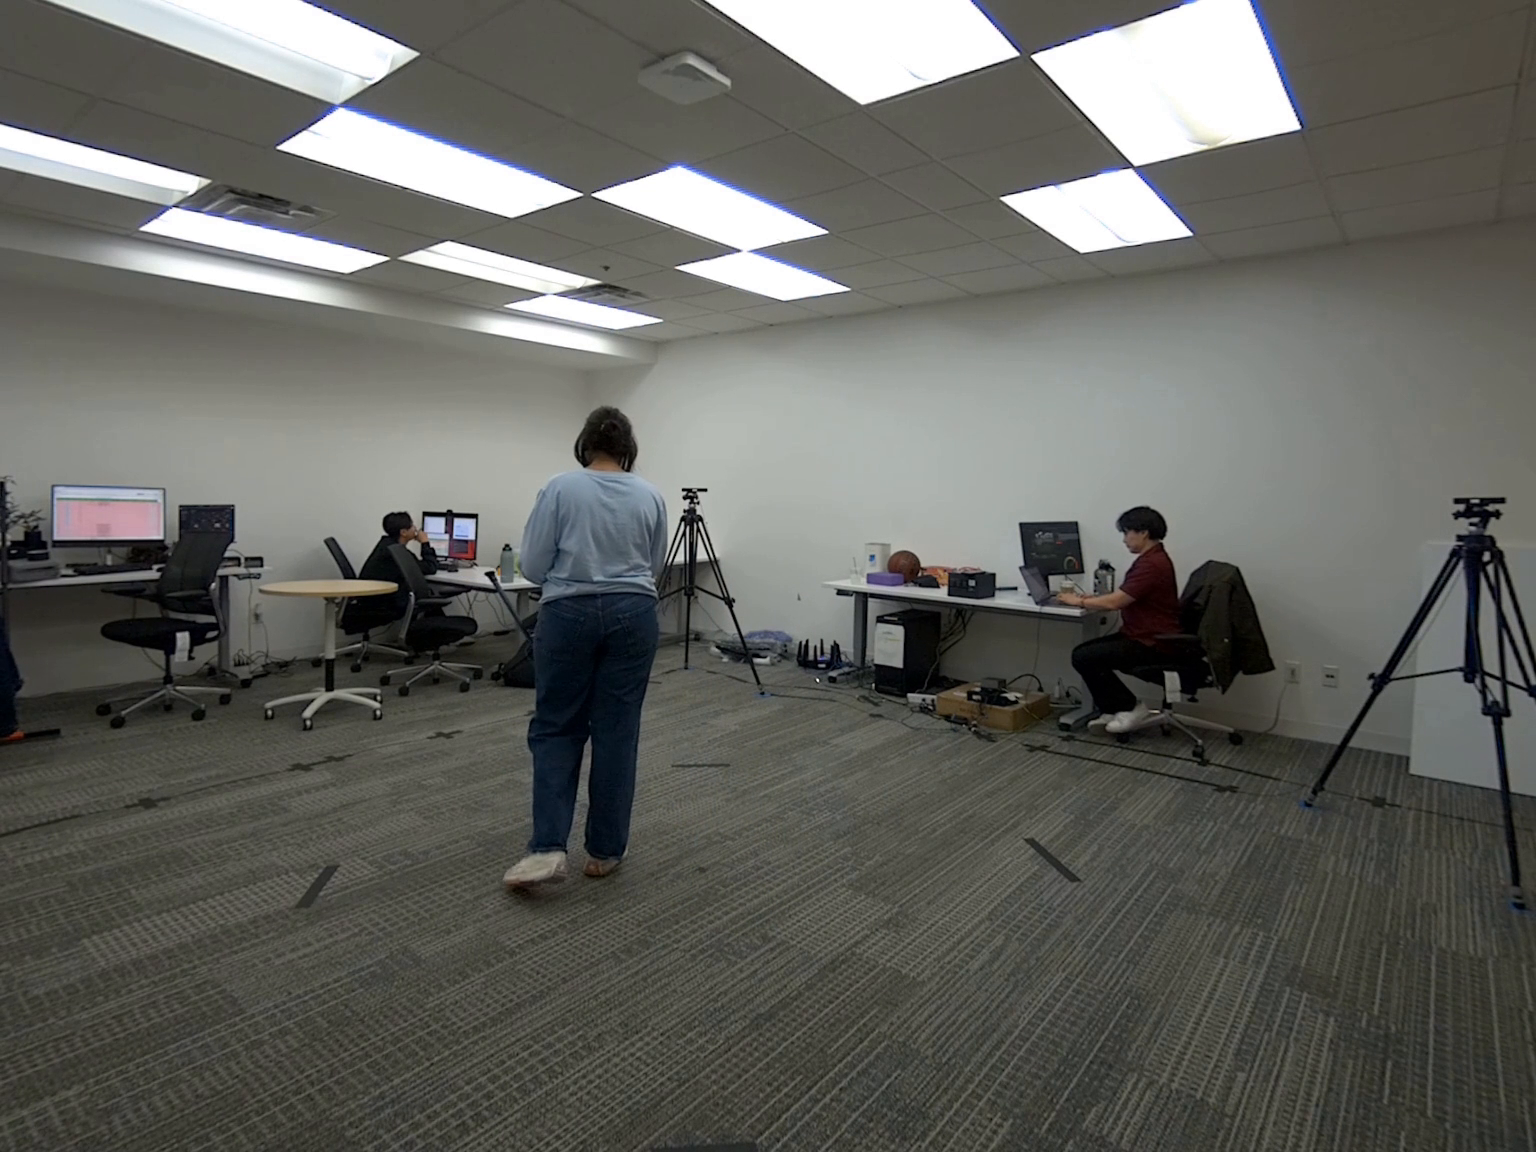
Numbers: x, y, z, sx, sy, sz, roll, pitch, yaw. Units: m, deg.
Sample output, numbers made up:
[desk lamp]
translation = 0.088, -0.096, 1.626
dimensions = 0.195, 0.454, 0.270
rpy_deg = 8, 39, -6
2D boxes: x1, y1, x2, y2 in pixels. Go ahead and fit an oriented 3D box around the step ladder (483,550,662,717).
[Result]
[step ladder]
translation = -0.791, 0.178, 3.371
dimensions = 0.435, 0.619, 0.338
rpy_deg = -29, -17, 25
